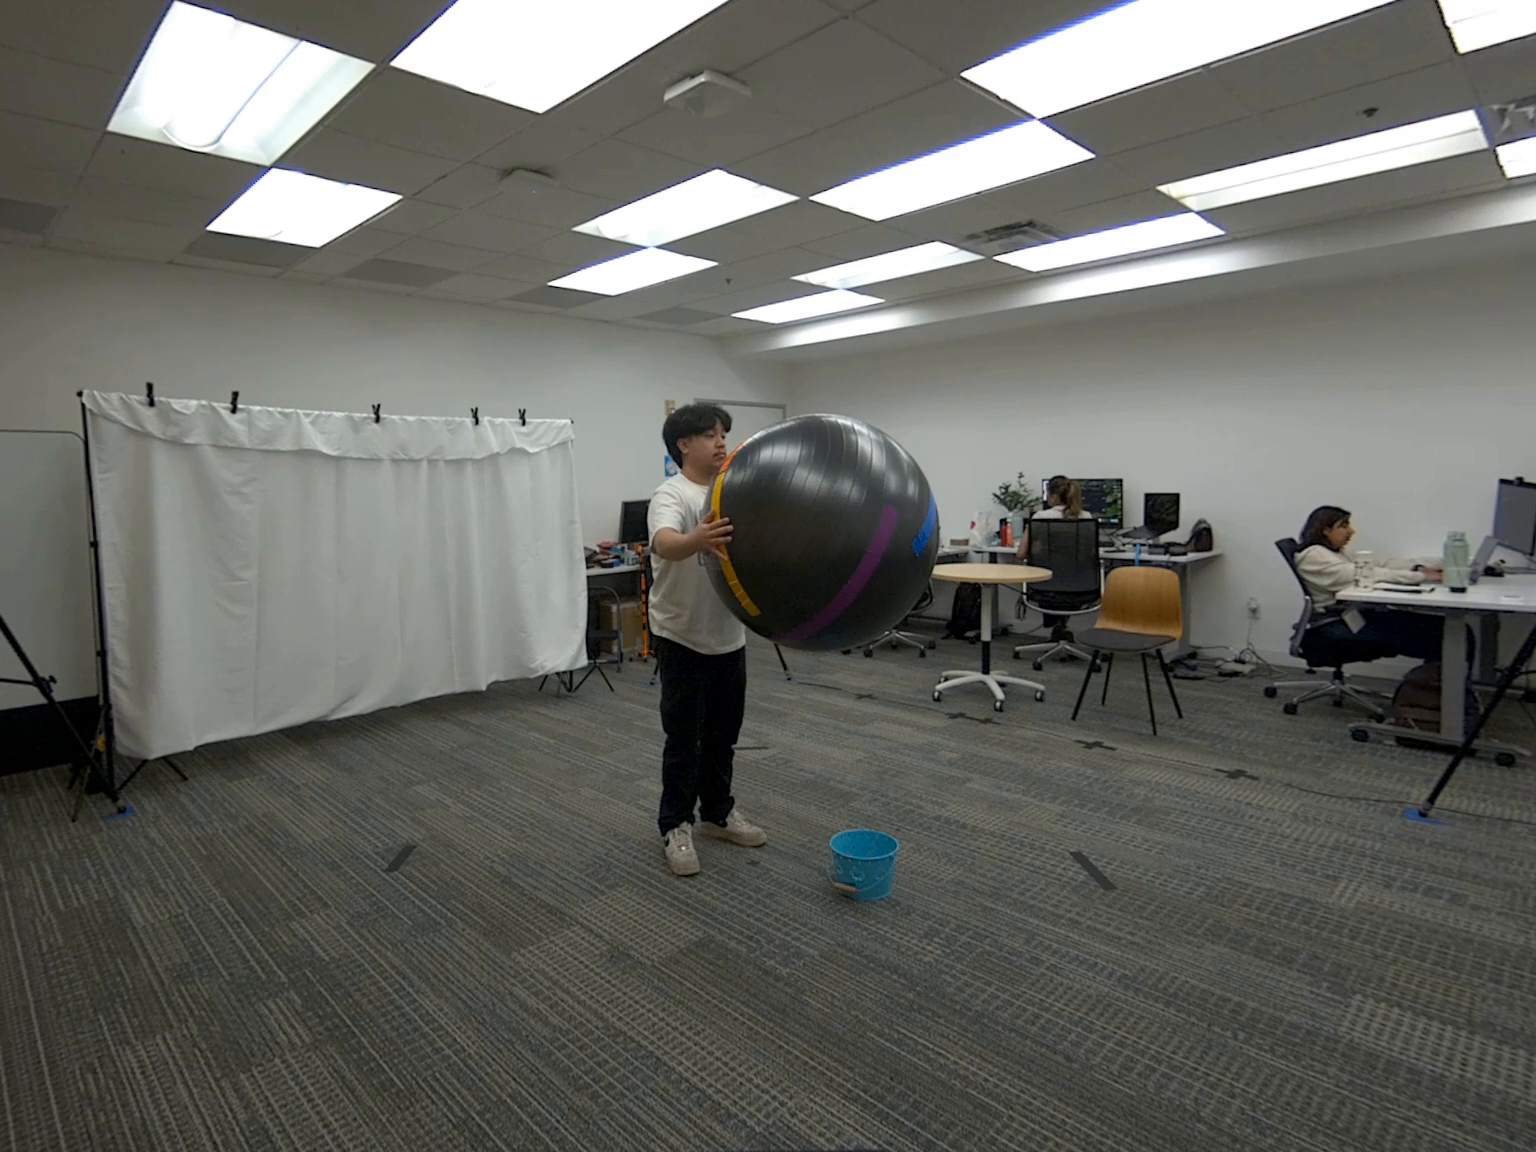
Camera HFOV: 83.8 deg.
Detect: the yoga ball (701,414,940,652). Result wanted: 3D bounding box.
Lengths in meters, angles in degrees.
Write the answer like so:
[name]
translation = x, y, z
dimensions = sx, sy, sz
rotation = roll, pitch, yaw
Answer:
[yoga ball]
translation = 0.169, -0.130, 2.738
dimensions = 0.757, 0.755, 0.762
rotation = -1, 5, -2
